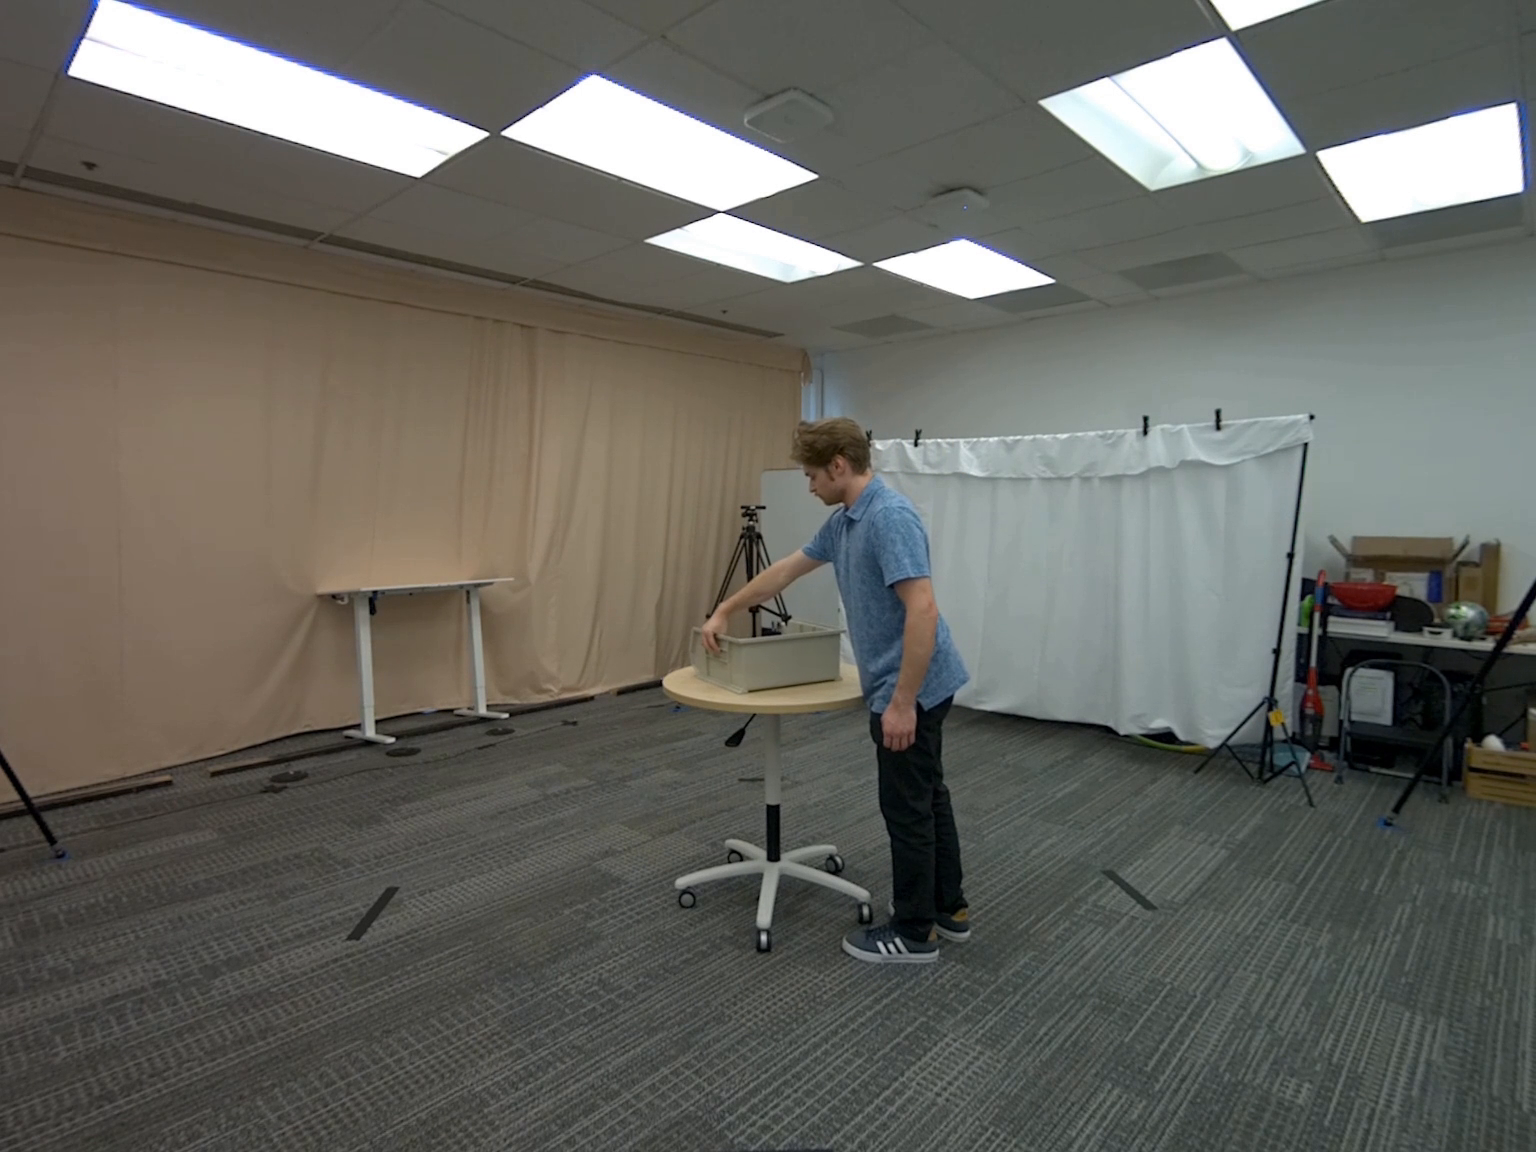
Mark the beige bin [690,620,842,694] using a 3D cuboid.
[{"bbox_3d":[-0.002,0.267,2.943,0.411,0.188,0.388,-3,7,-29],"label":"beige bin"}]
